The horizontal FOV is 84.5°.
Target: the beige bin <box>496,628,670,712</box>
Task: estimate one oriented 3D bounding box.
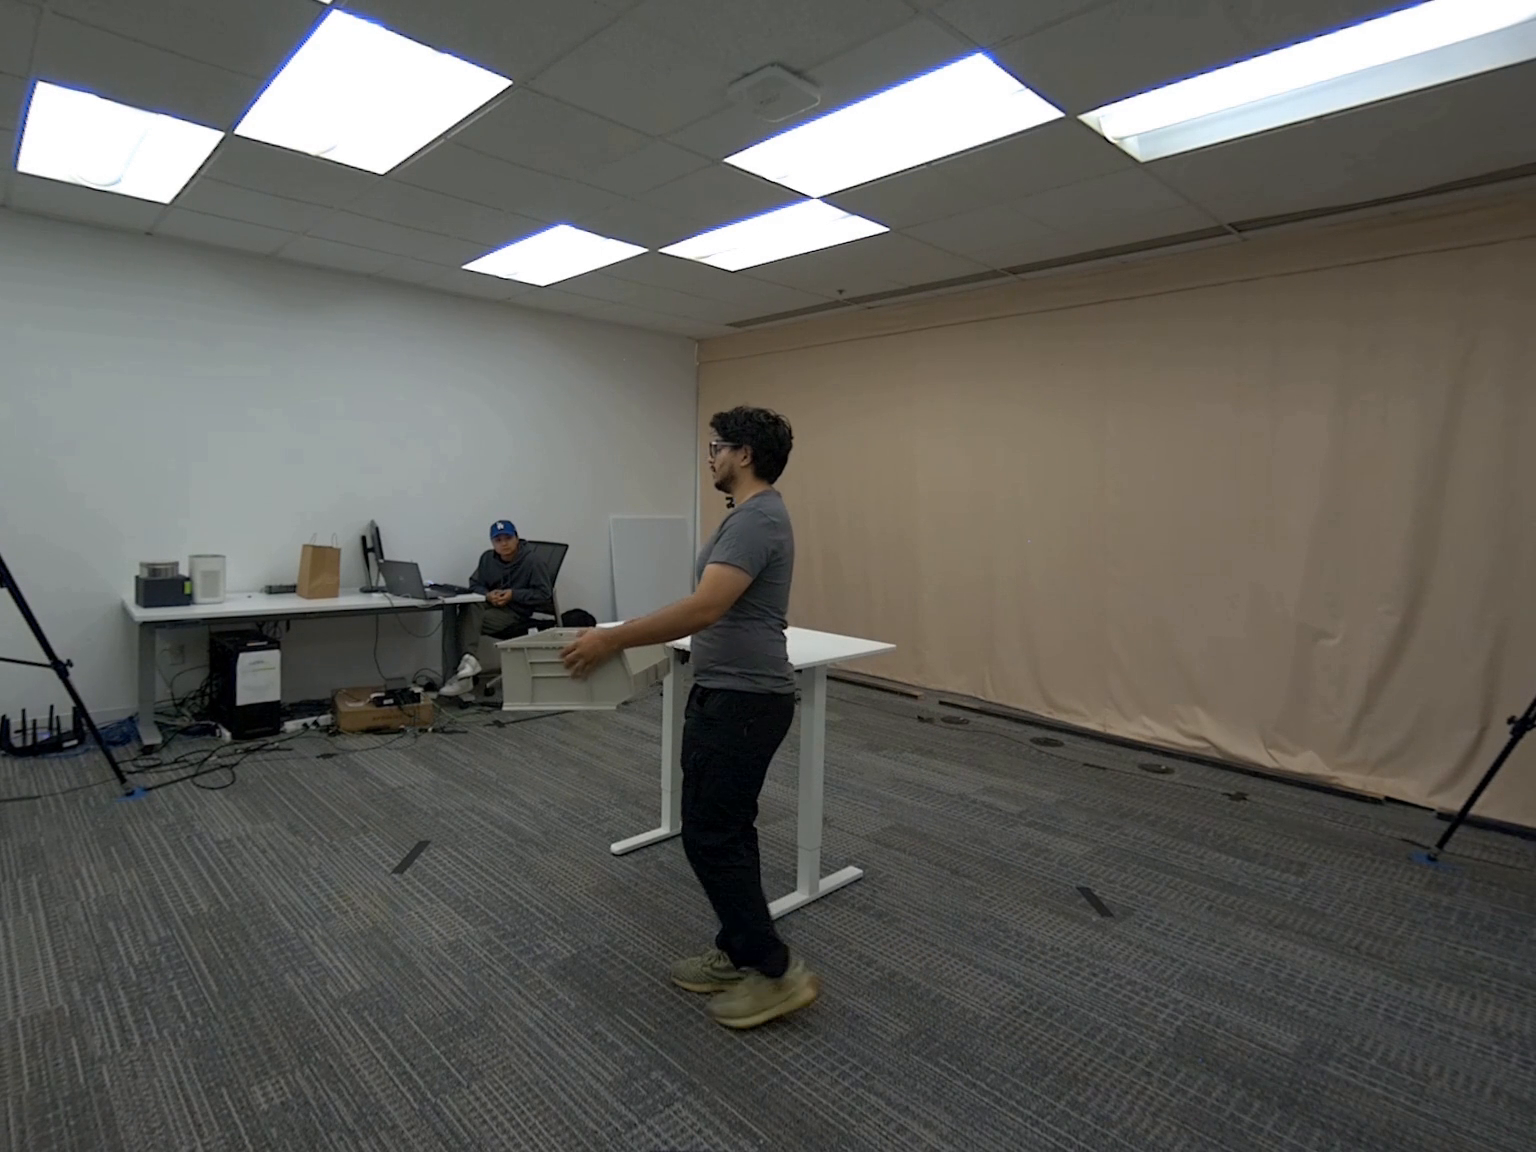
[{"bbox_3d":[-0.504,0.257,2.407,0.380,0.189,0.420,-4,2,7],"label":"beige bin"}]
